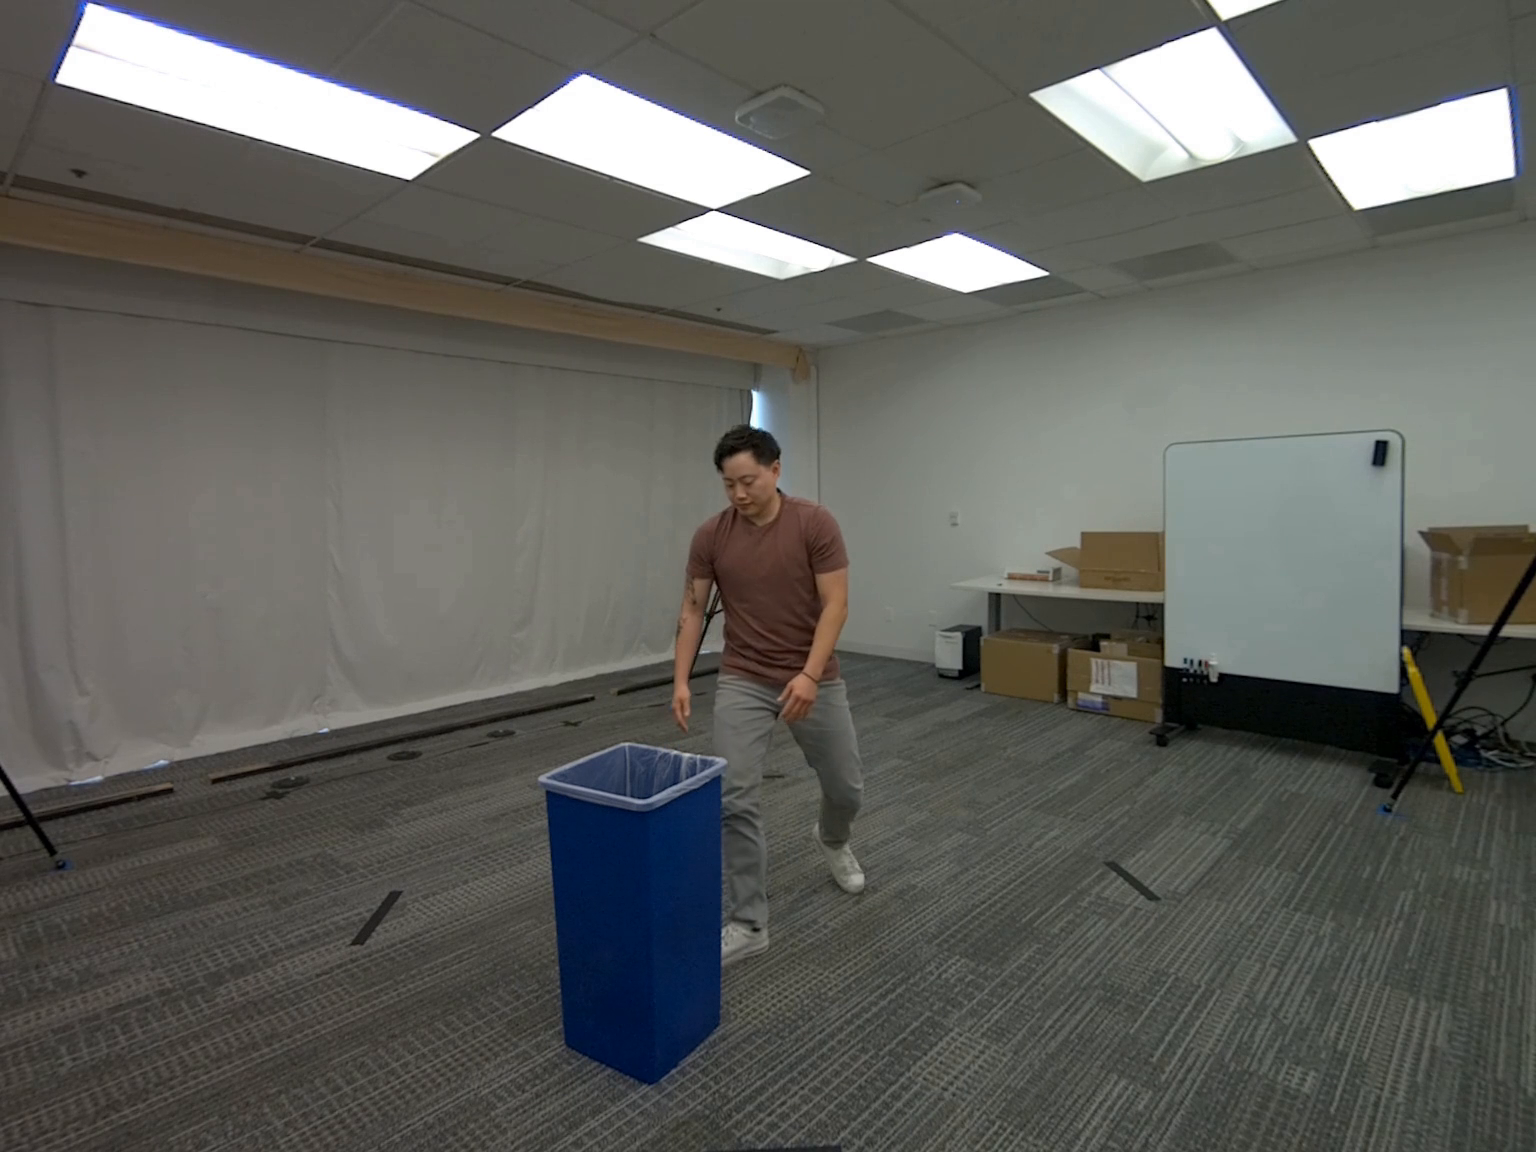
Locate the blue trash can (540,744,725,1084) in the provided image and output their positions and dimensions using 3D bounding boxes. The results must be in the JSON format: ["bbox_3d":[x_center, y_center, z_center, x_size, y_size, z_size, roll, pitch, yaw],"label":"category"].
[{"bbox_3d":[-0.337,0.857,2.192,0.389,0.712,0.364,1,4,32],"label":"blue trash can"}]
